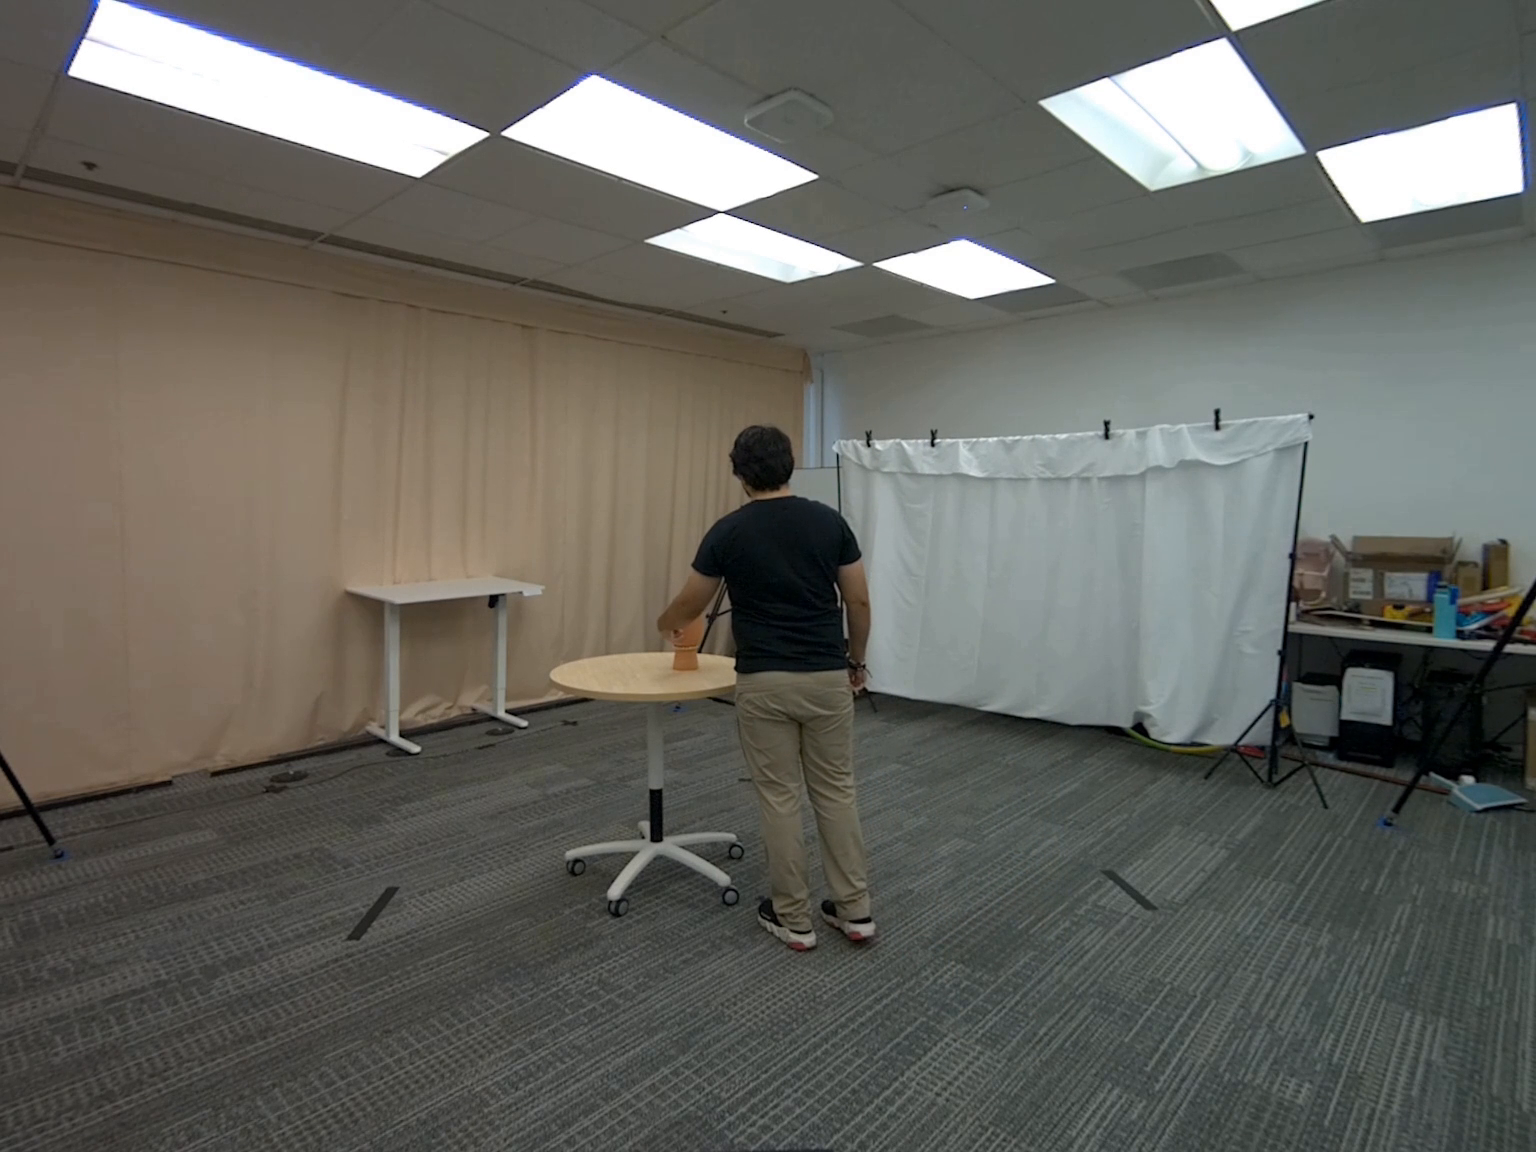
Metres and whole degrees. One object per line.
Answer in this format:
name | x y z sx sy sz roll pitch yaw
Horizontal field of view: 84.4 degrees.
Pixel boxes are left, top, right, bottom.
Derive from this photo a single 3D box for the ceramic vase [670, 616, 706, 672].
ceramic vase | -0.311 0.239 3.168 0.154 0.219 0.139 -1 2 -33
